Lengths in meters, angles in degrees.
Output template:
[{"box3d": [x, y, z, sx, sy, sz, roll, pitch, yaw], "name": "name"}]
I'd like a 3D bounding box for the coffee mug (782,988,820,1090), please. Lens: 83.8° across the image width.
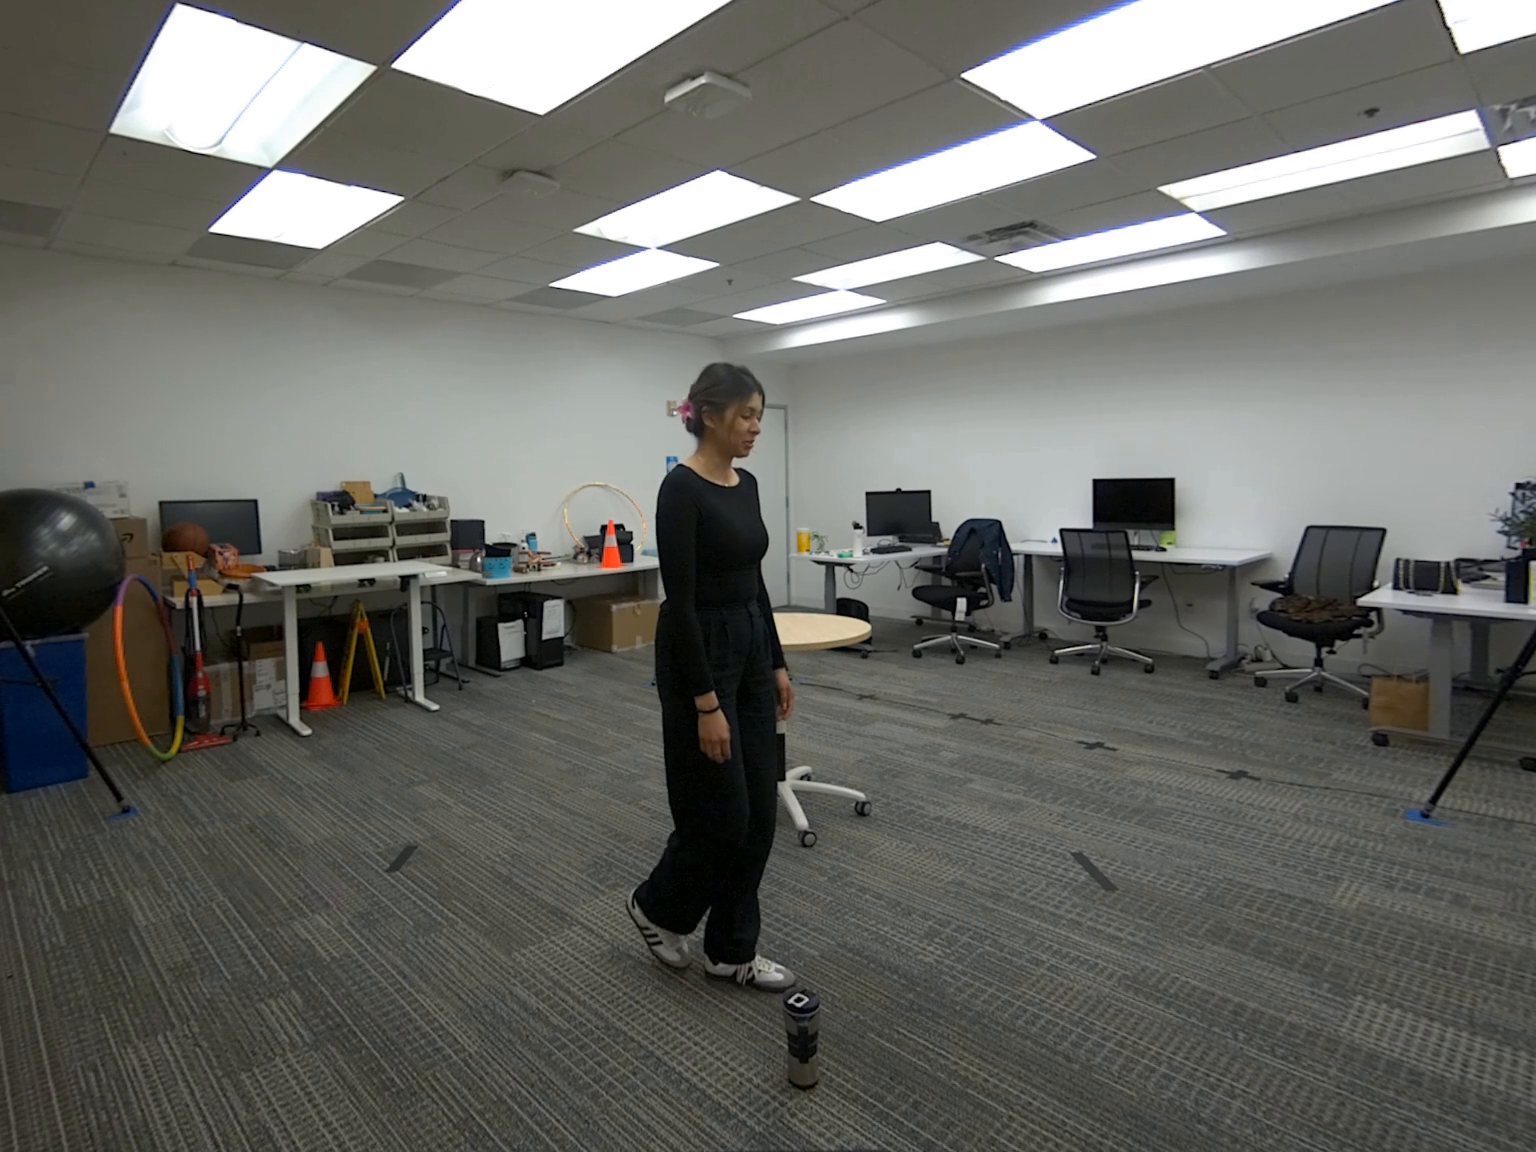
[{"box3d": [0.078, 1.085, 1.954, 0.090, 0.202, 0.119, 5, 4, 23], "name": "coffee mug"}]
